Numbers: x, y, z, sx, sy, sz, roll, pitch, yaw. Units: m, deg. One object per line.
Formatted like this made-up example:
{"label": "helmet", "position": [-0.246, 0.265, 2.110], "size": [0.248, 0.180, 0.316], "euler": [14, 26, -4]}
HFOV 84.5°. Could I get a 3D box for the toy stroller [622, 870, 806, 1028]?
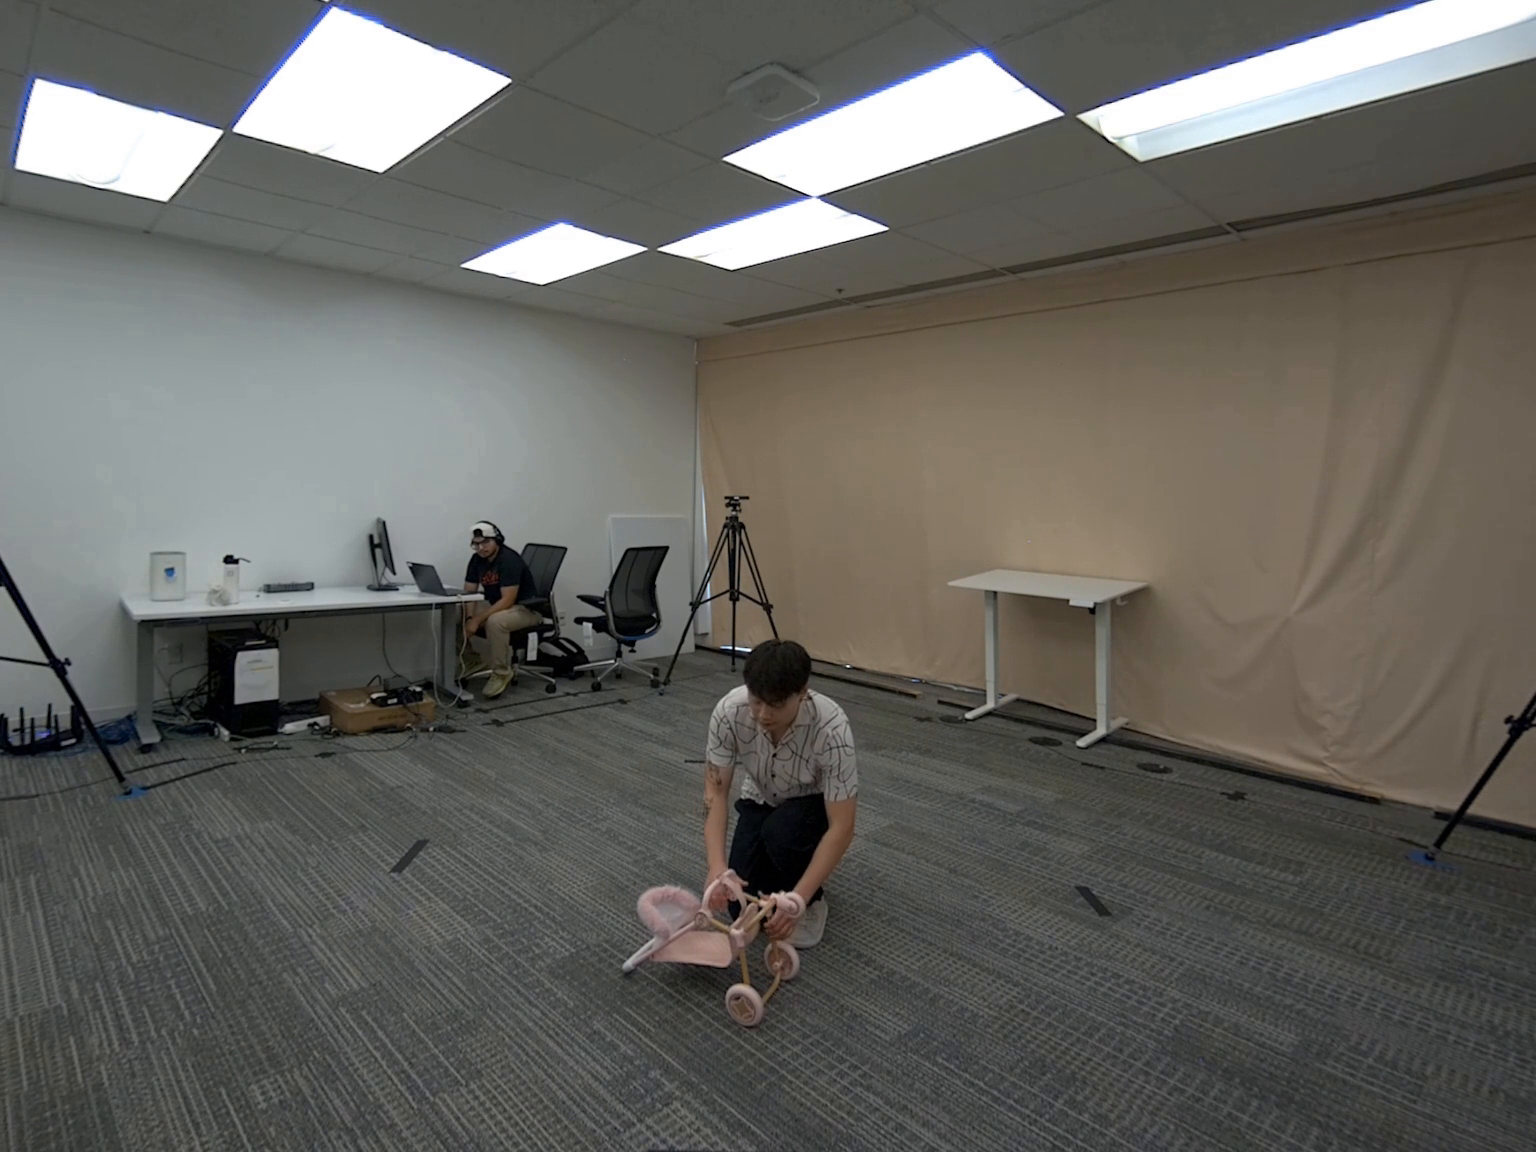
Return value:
{"label": "toy stroller", "position": [-0.155, 1.010, 2.380], "size": [0.546, 0.339, 0.277], "euler": [5, 9, 27]}
